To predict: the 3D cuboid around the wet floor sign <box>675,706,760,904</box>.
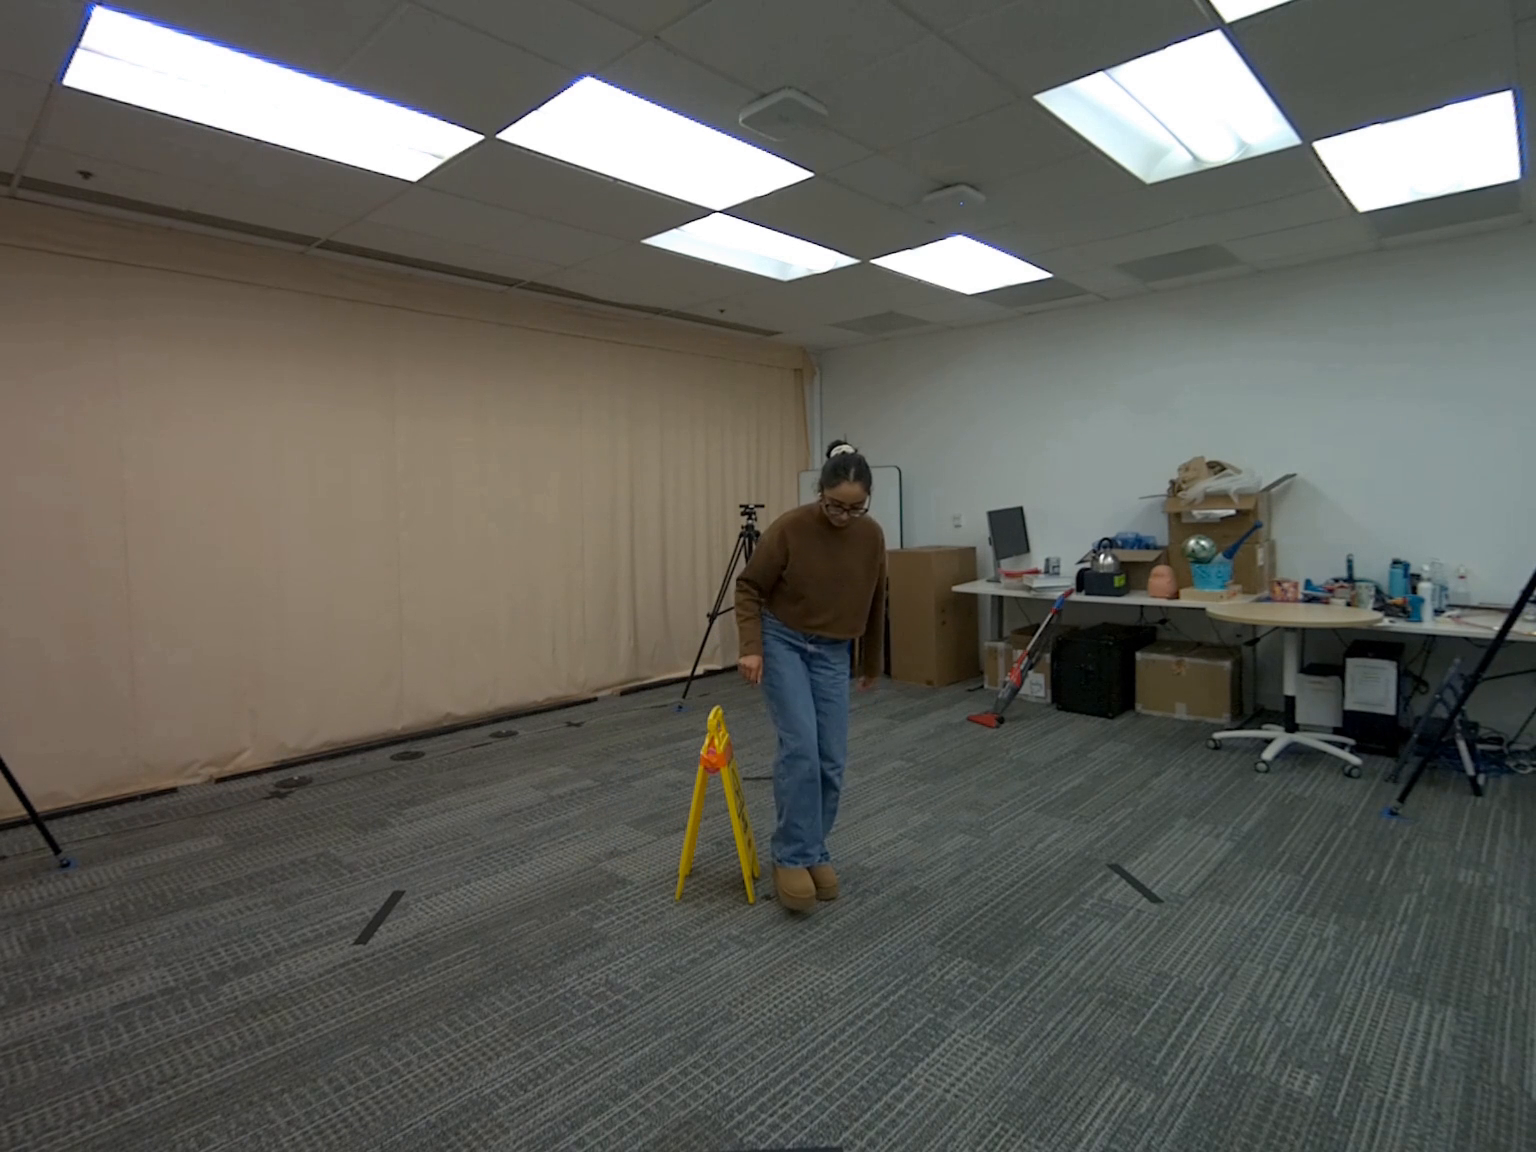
[{"bbox_3d":[-0.185,0.821,3.061,0.292,0.645,0.280,-1,1,6],"label":"wet floor sign"}]
